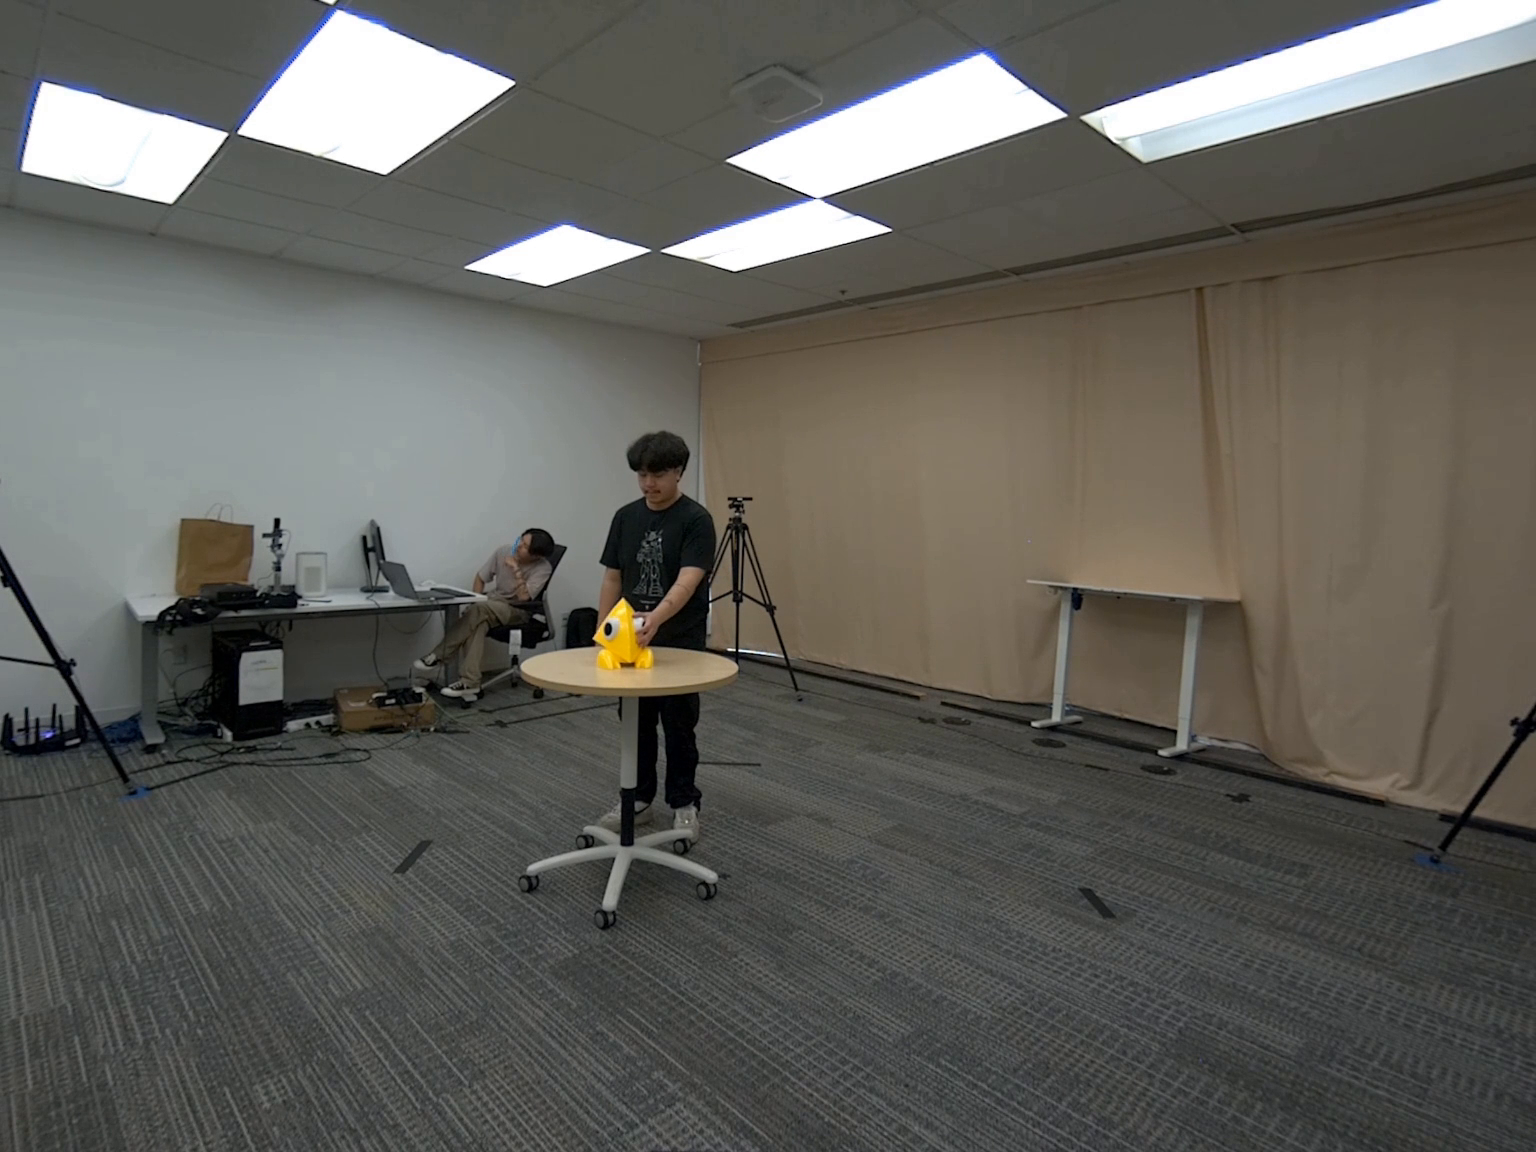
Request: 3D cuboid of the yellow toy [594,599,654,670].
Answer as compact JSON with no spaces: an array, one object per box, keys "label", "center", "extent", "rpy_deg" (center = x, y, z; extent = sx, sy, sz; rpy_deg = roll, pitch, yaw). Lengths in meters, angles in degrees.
[{"label":"yellow toy","center":[-0.524,0.204,2.995],"extent":[0.202,0.230,0.196],"rpy_deg":[1,4,-19]}]
